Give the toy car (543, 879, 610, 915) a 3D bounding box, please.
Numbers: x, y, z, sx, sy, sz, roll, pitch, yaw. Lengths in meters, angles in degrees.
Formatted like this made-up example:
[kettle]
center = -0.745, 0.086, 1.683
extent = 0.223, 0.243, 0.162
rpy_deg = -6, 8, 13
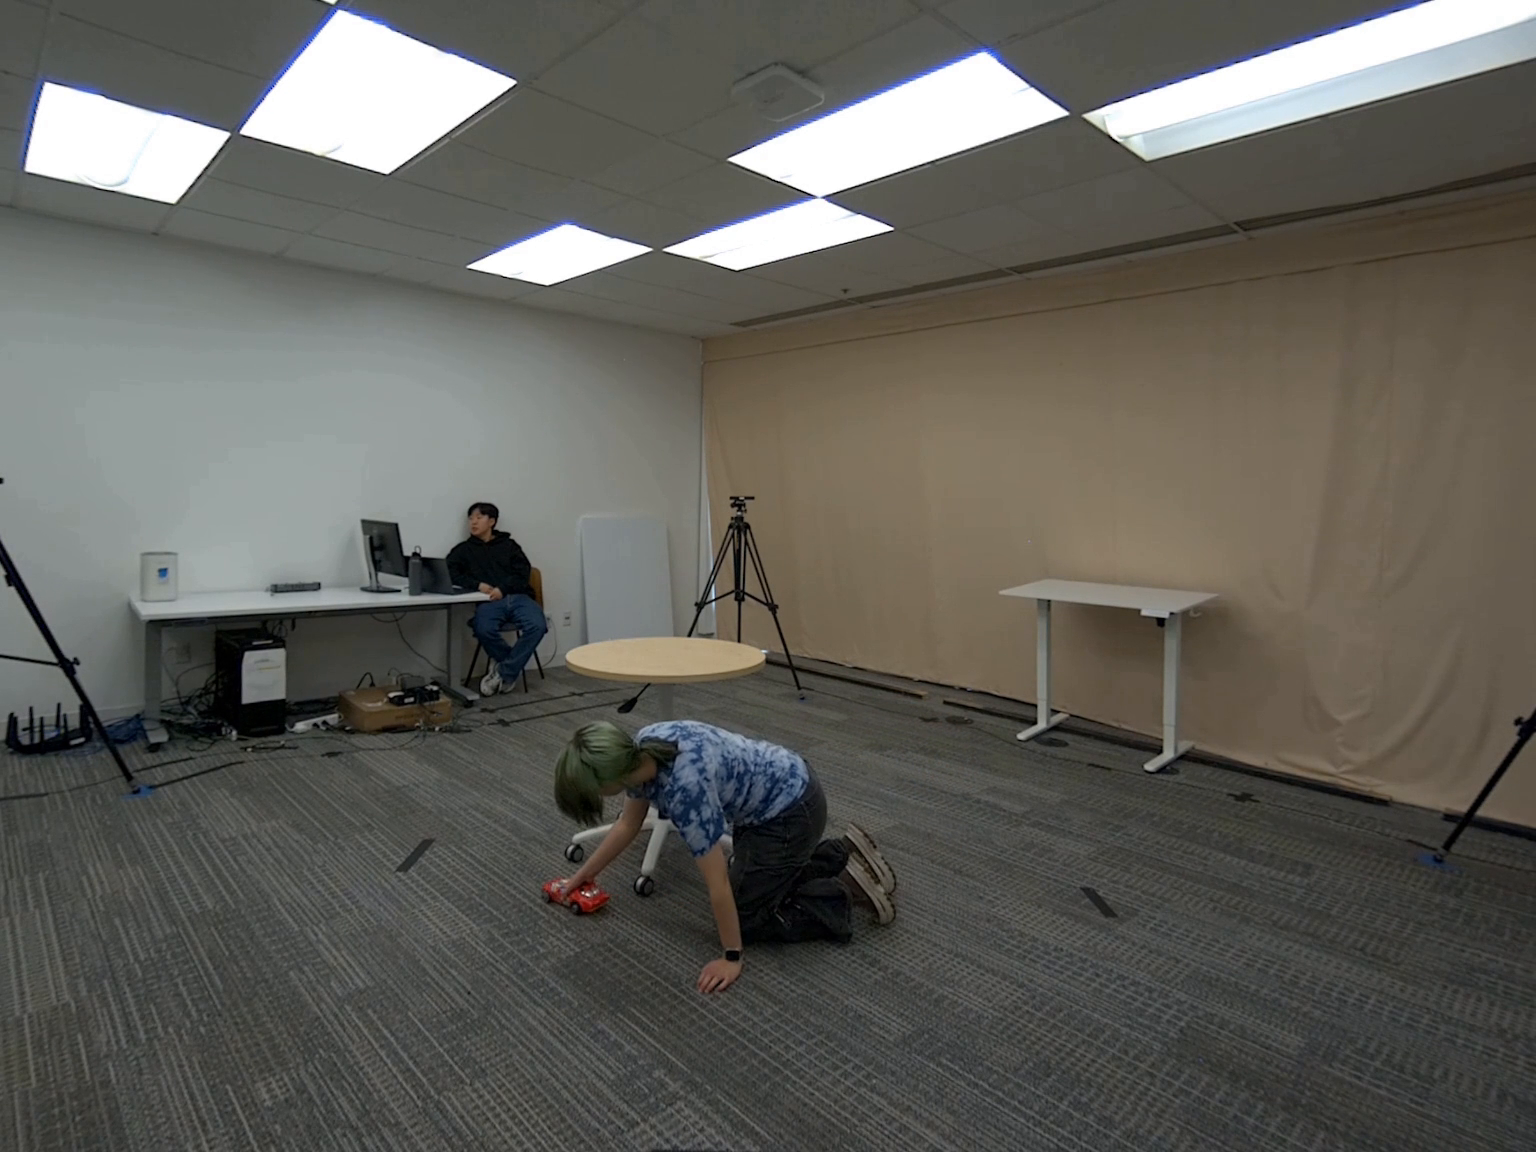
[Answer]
[toy car]
center = -0.649, 1.083, 2.848
extent = 0.259, 0.083, 0.127
rpy_deg = -9, -3, 34
